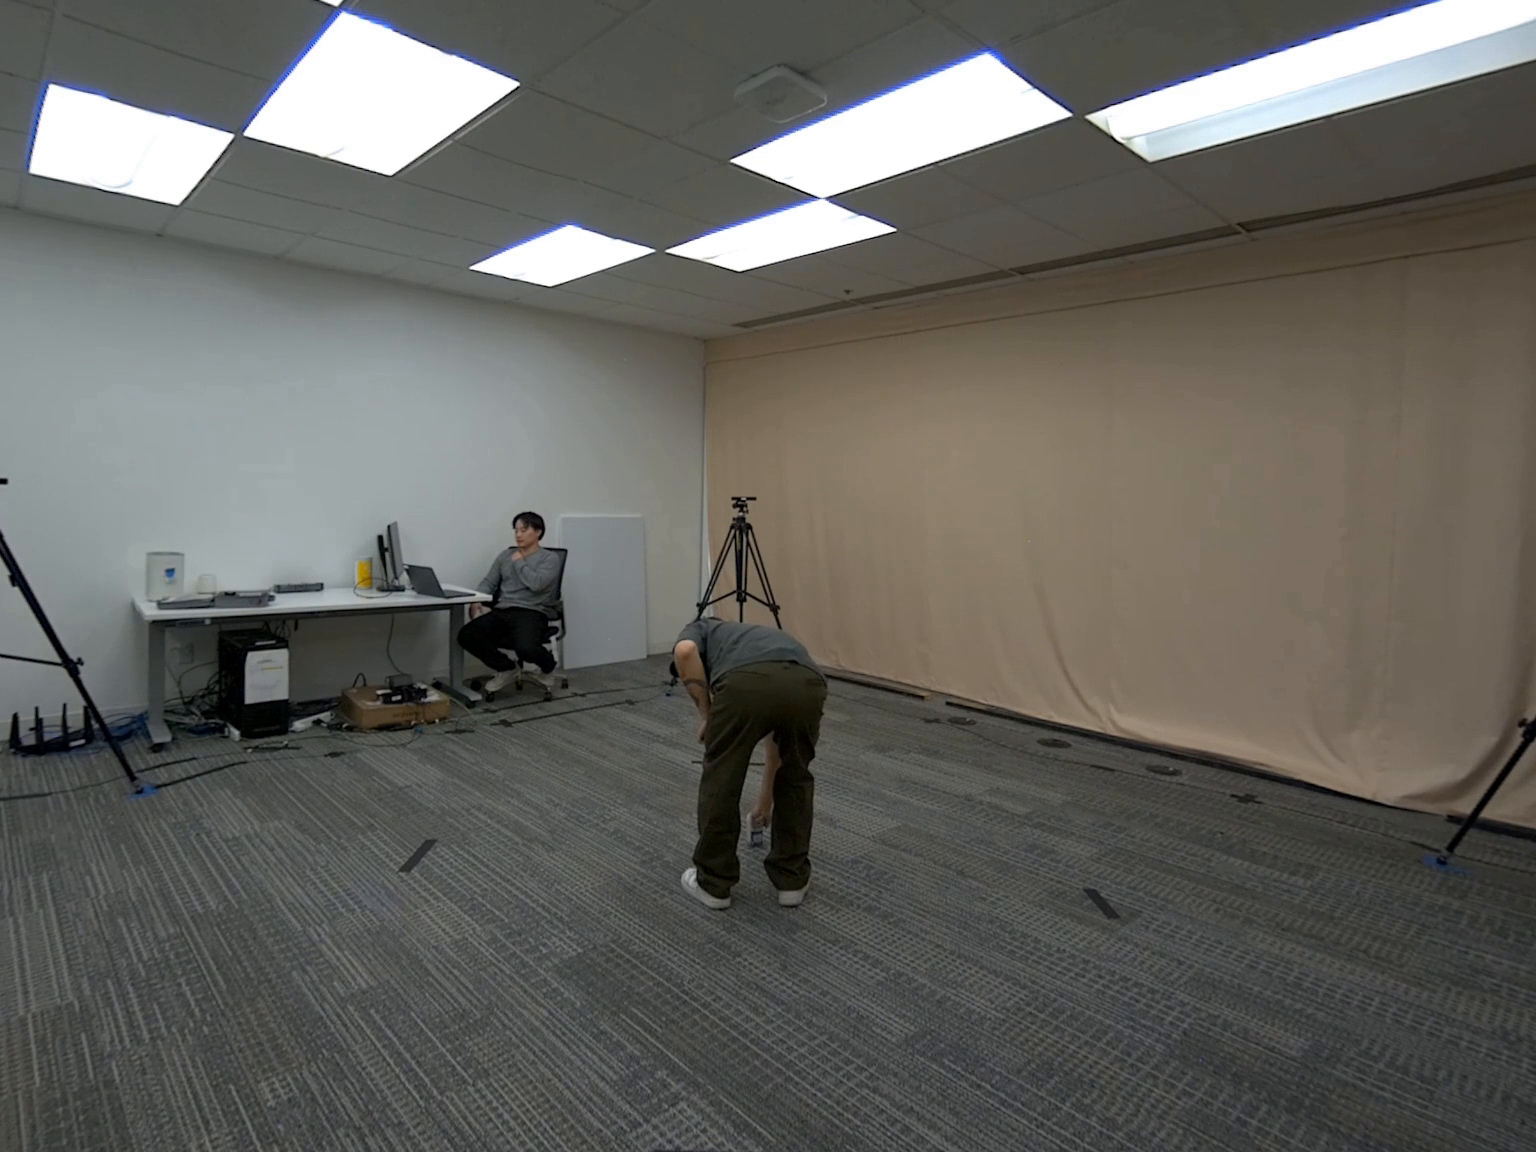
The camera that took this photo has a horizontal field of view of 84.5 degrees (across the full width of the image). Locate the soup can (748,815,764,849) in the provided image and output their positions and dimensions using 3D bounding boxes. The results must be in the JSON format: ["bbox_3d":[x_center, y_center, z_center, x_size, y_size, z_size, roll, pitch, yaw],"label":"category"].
[{"bbox_3d":[-0.062,1.025,3.386,0.067,0.122,0.067,0,-1,-1],"label":"soup can"}]
